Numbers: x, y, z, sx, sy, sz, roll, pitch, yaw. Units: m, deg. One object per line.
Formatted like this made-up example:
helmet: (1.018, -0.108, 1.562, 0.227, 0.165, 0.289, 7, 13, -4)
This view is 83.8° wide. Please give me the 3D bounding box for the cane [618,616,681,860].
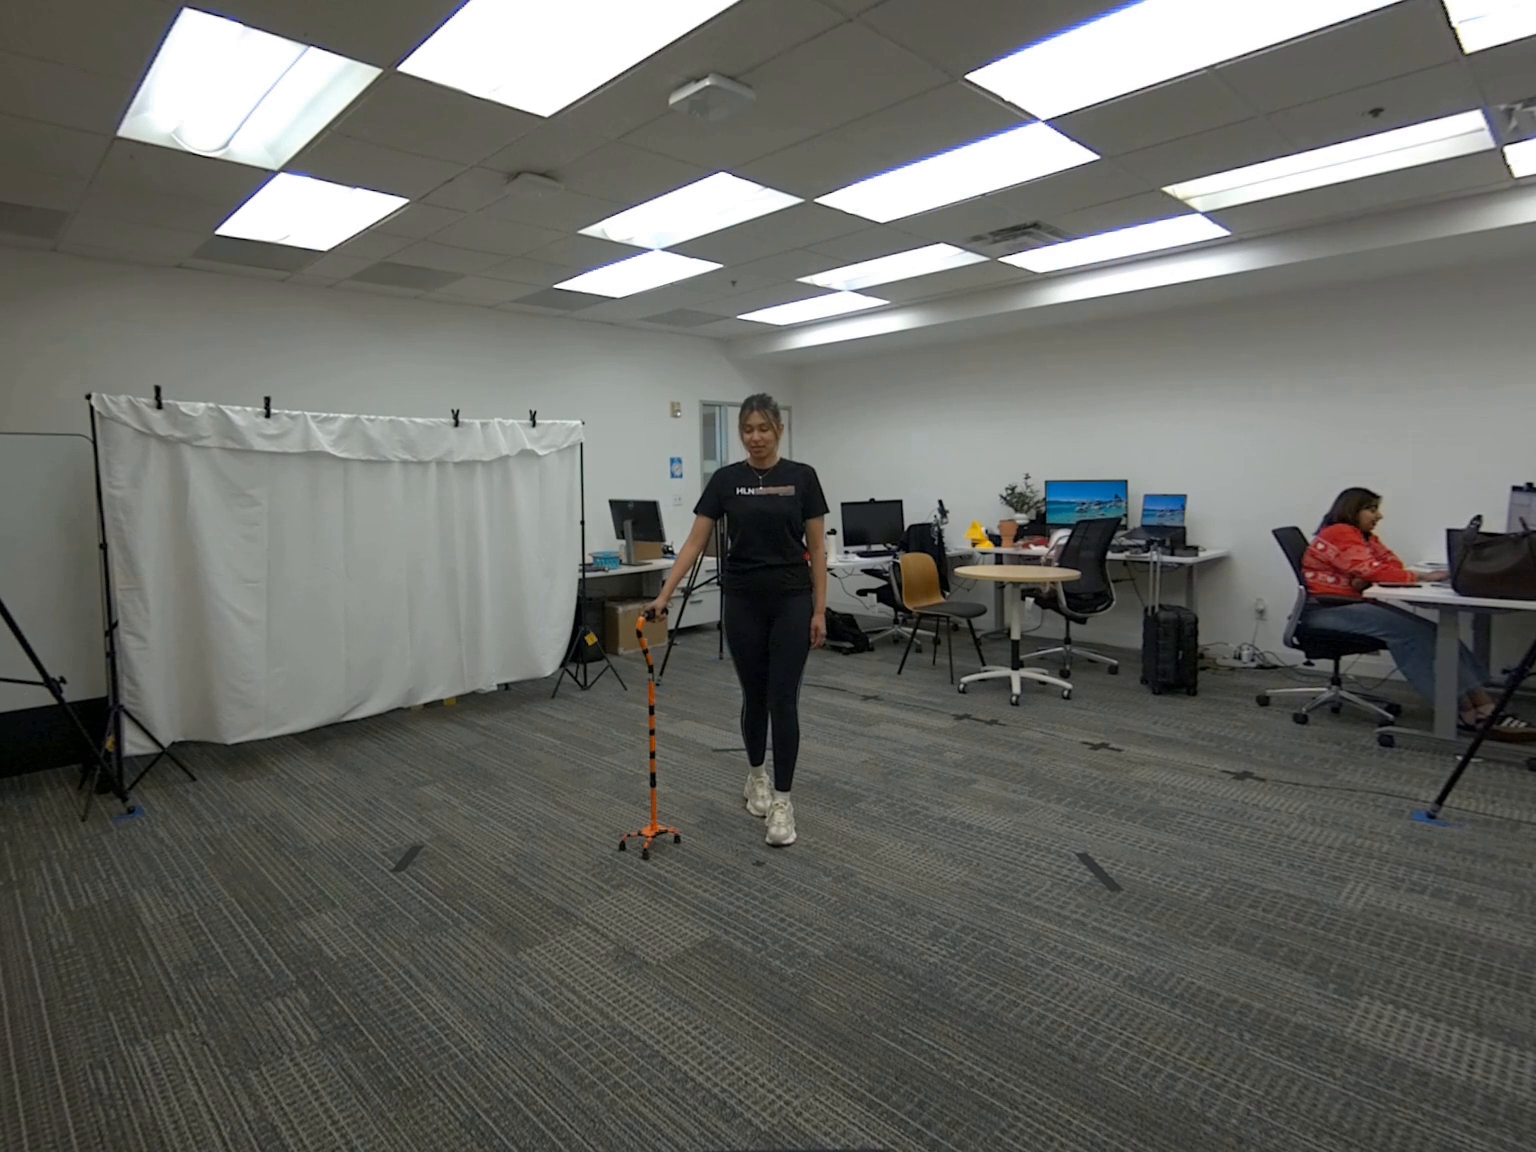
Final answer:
cane: (-0.445, 0.583, 3.240, 0.156, 0.904, 0.201, 3, 6, 36)
